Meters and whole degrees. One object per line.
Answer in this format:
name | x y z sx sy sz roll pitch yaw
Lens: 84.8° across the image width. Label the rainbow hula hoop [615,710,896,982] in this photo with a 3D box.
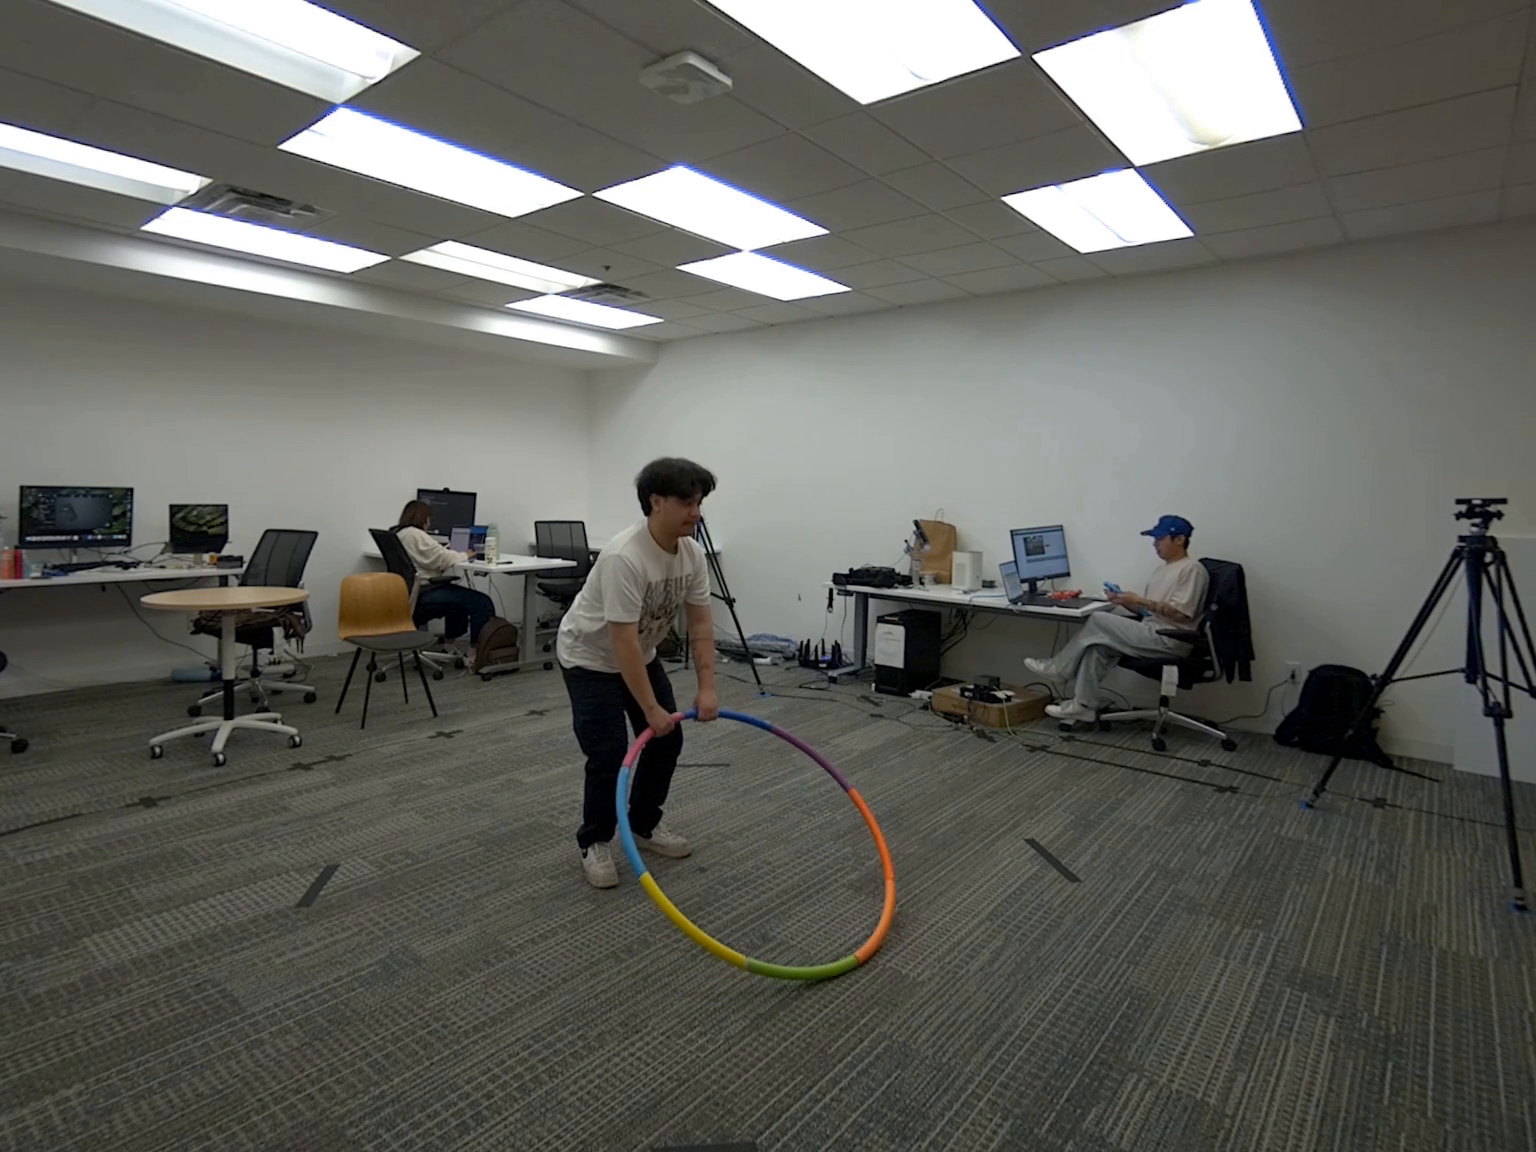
rainbow hula hoop | -0.021 0.817 2.749 0.968 0.051 1.013 19 31 -14
